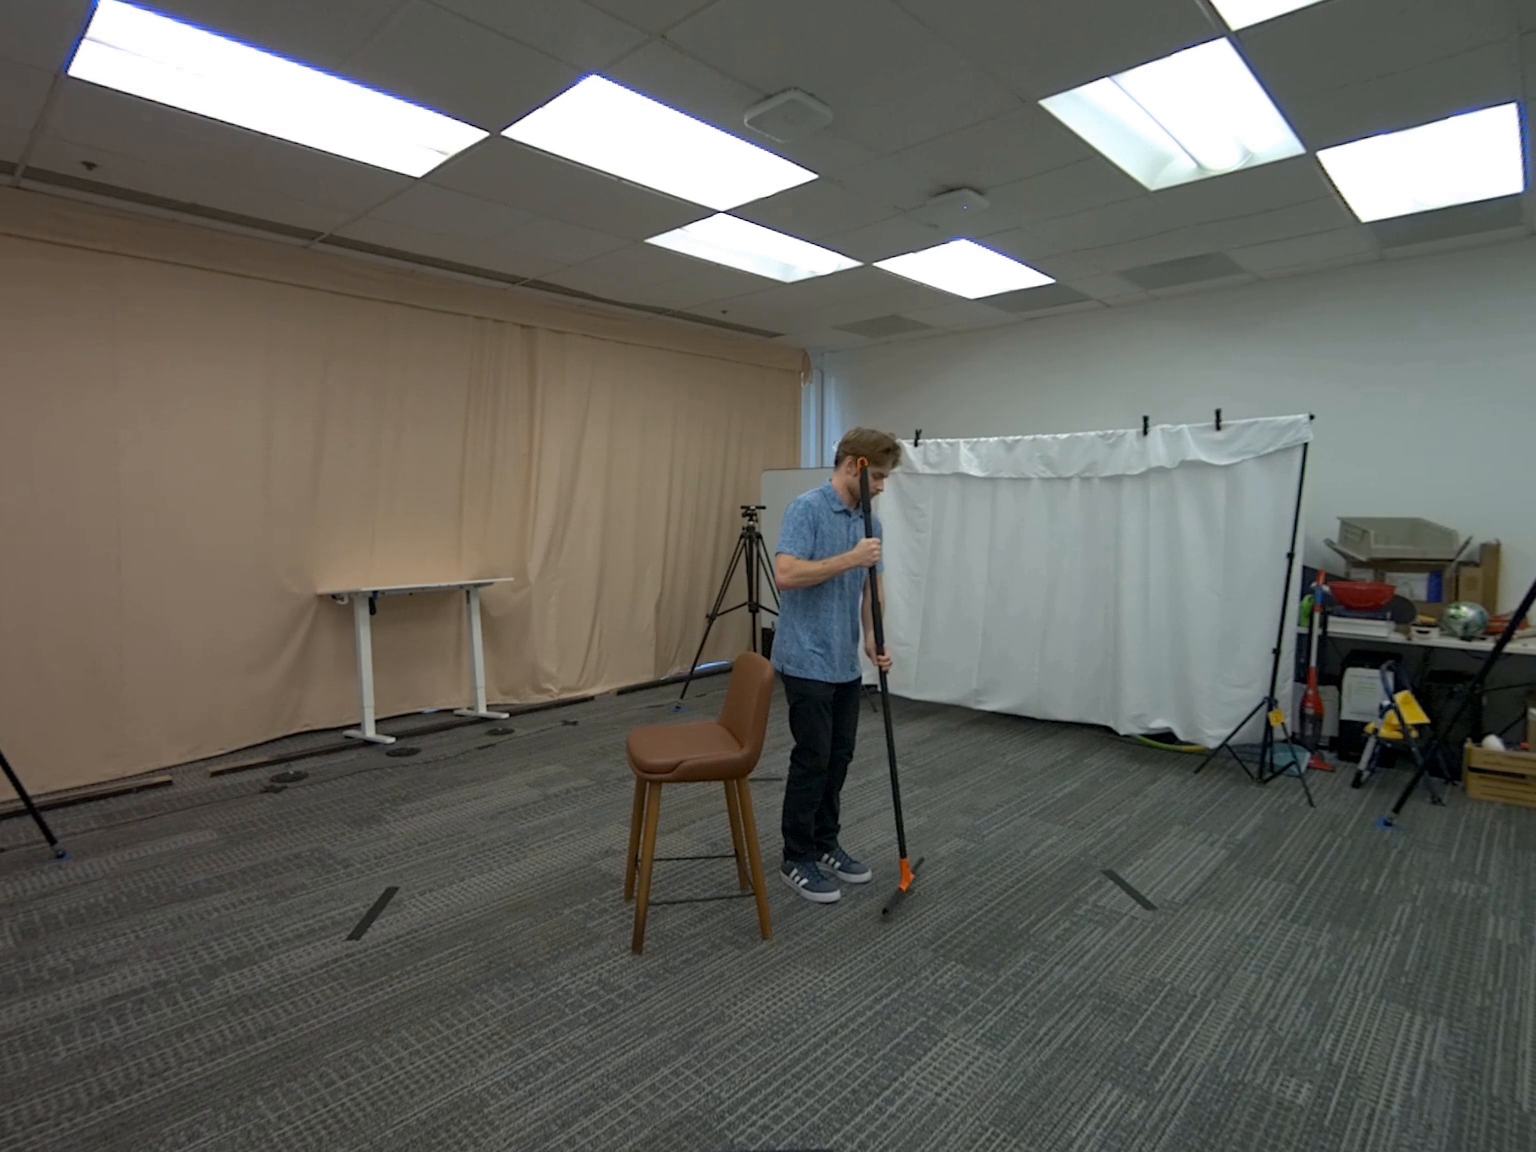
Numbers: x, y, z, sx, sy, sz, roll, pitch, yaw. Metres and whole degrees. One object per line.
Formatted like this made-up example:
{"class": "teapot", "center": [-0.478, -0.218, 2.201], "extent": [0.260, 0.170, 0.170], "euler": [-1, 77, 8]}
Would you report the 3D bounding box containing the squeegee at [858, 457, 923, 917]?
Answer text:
{"class": "squeegee", "center": [0.445, 0.367, 2.958], "extent": [0.054, 1.535, 0.427], "euler": [-2, 2, 26]}
